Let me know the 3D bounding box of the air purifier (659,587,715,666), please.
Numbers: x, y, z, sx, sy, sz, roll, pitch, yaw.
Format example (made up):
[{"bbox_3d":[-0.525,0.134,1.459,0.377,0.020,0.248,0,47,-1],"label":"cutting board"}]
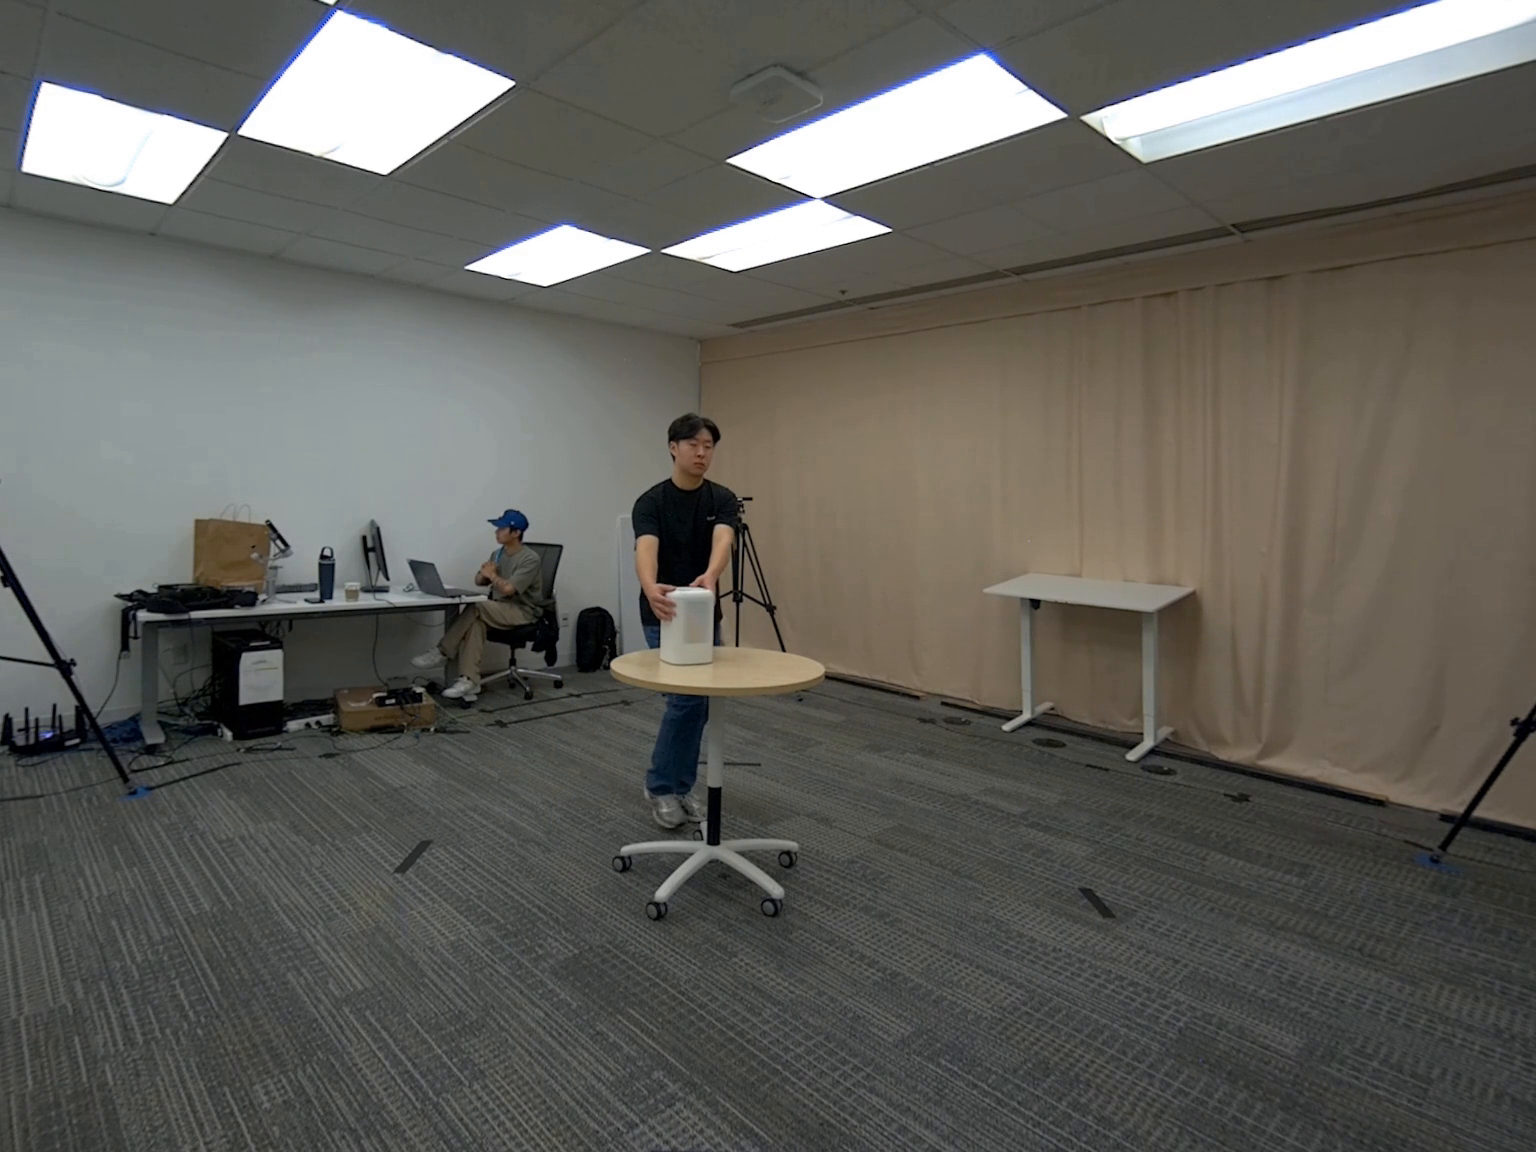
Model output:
[{"bbox_3d":[-0.305,0.180,3.062,0.168,0.265,0.174,0,3,-24],"label":"air purifier"}]
